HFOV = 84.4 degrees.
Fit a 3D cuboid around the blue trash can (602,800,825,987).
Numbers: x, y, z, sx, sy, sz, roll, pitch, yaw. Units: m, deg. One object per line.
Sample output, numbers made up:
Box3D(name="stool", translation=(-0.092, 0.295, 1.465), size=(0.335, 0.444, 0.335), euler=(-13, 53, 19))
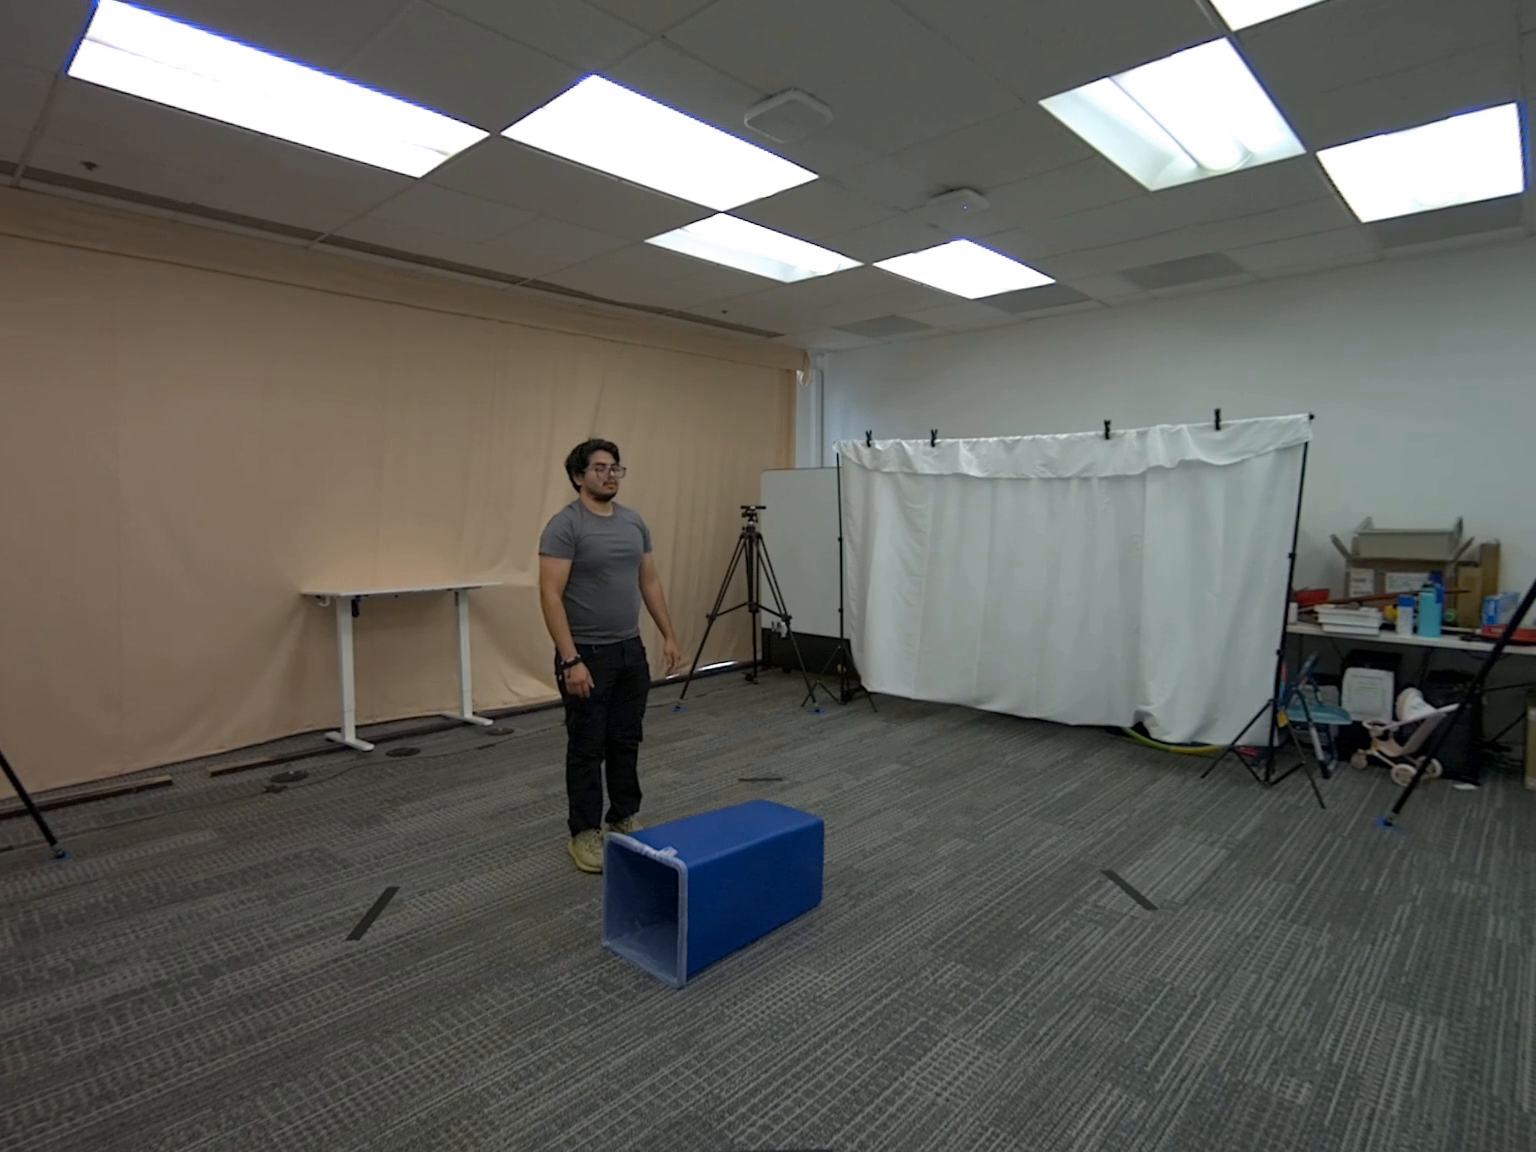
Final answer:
Box3D(name="blue trash can", translation=(-0.143, 0.989, 2.781), size=(0.386, 0.377, 0.691), euler=(3, 3, 44))
